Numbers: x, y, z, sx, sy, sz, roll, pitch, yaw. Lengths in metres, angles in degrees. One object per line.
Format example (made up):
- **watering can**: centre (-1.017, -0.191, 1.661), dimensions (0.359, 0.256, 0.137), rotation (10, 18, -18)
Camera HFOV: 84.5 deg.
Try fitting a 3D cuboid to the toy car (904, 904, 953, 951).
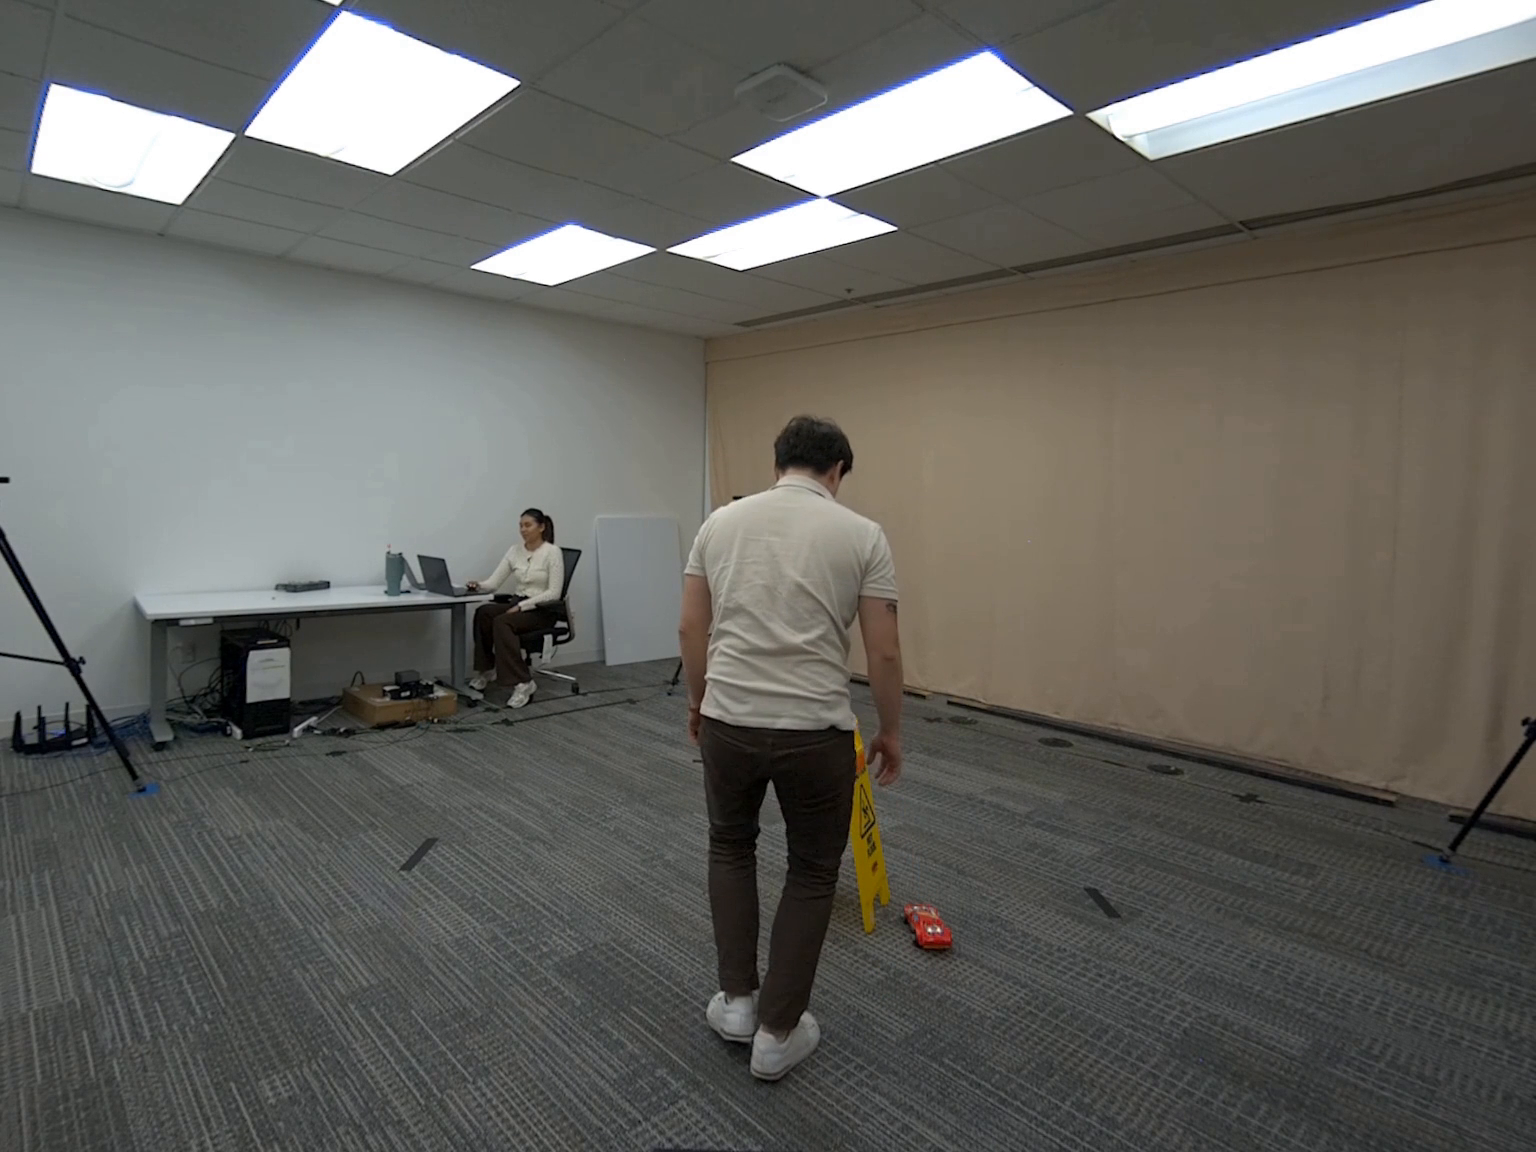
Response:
- **toy car**: centre (0.507, 1.126, 2.684), dimensions (0.130, 0.084, 0.254), rotation (1, -7, -4)
